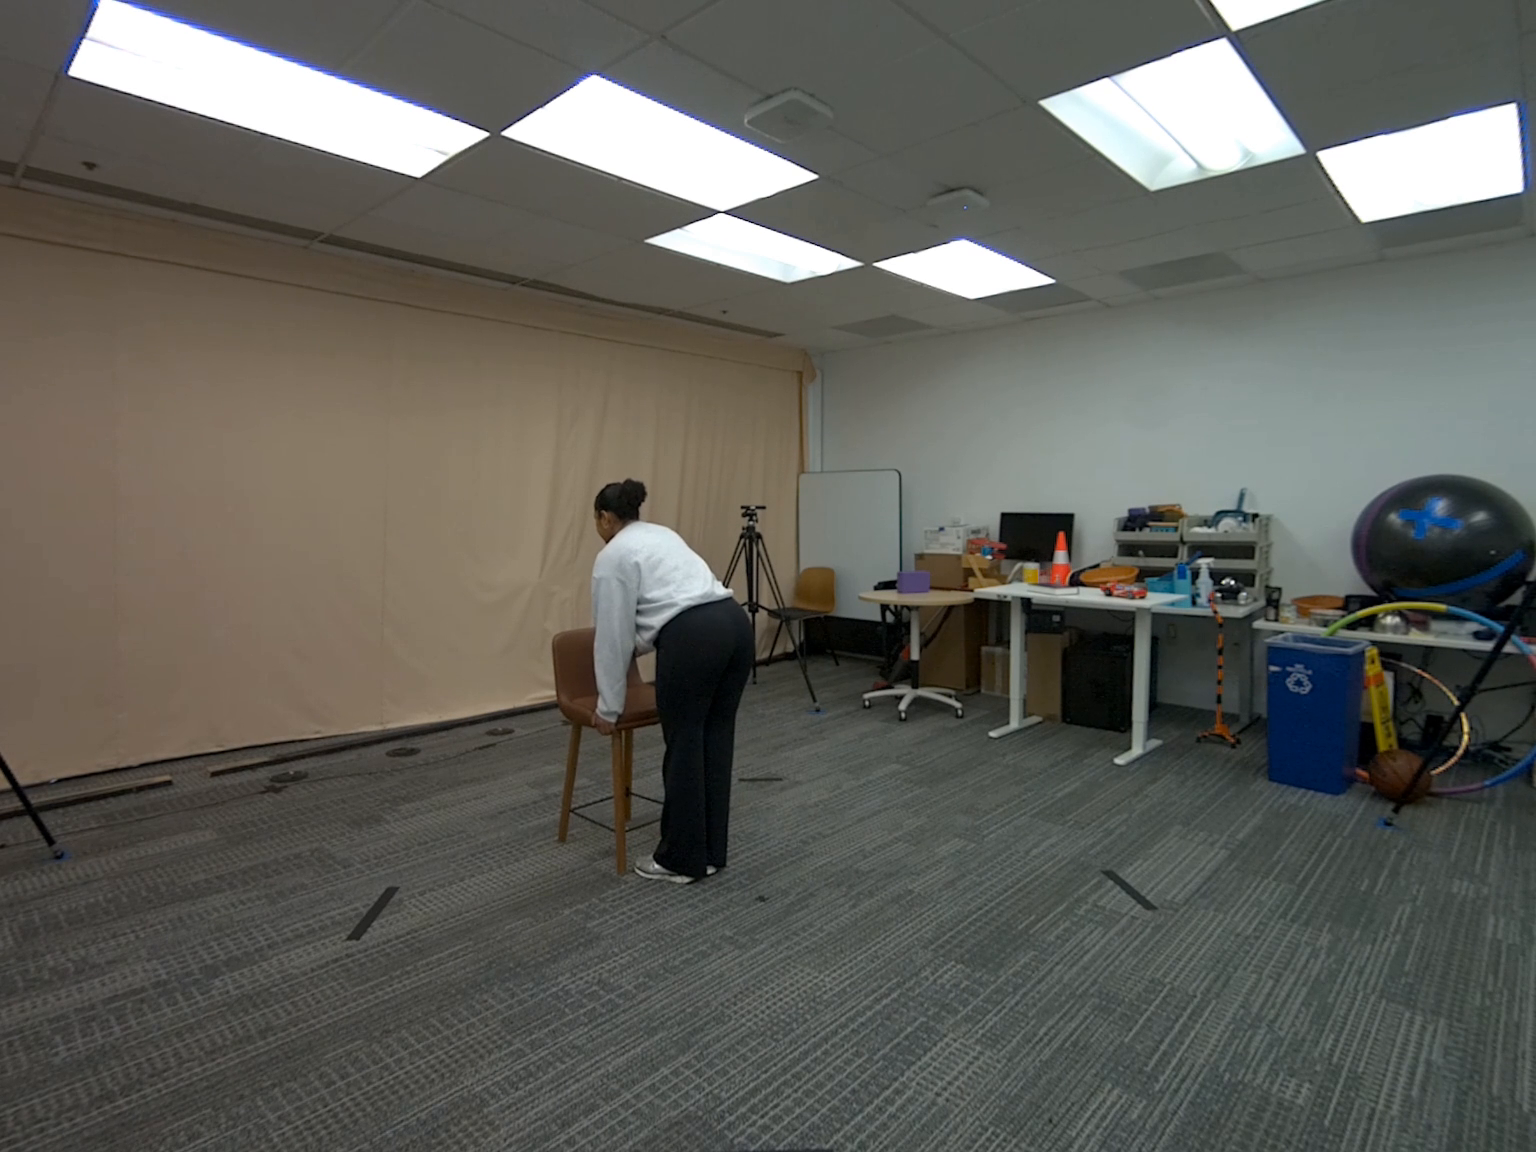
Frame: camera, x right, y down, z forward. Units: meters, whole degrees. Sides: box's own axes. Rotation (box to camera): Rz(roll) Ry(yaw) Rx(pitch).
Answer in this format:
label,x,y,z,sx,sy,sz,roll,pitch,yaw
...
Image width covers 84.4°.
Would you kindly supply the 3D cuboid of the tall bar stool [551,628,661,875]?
label,x,y,z,sx,sy,sz,roll,pitch,yaw
tall bar stool,-0.596,0.666,3.456,0.483,0.888,0.442,0,3,44
